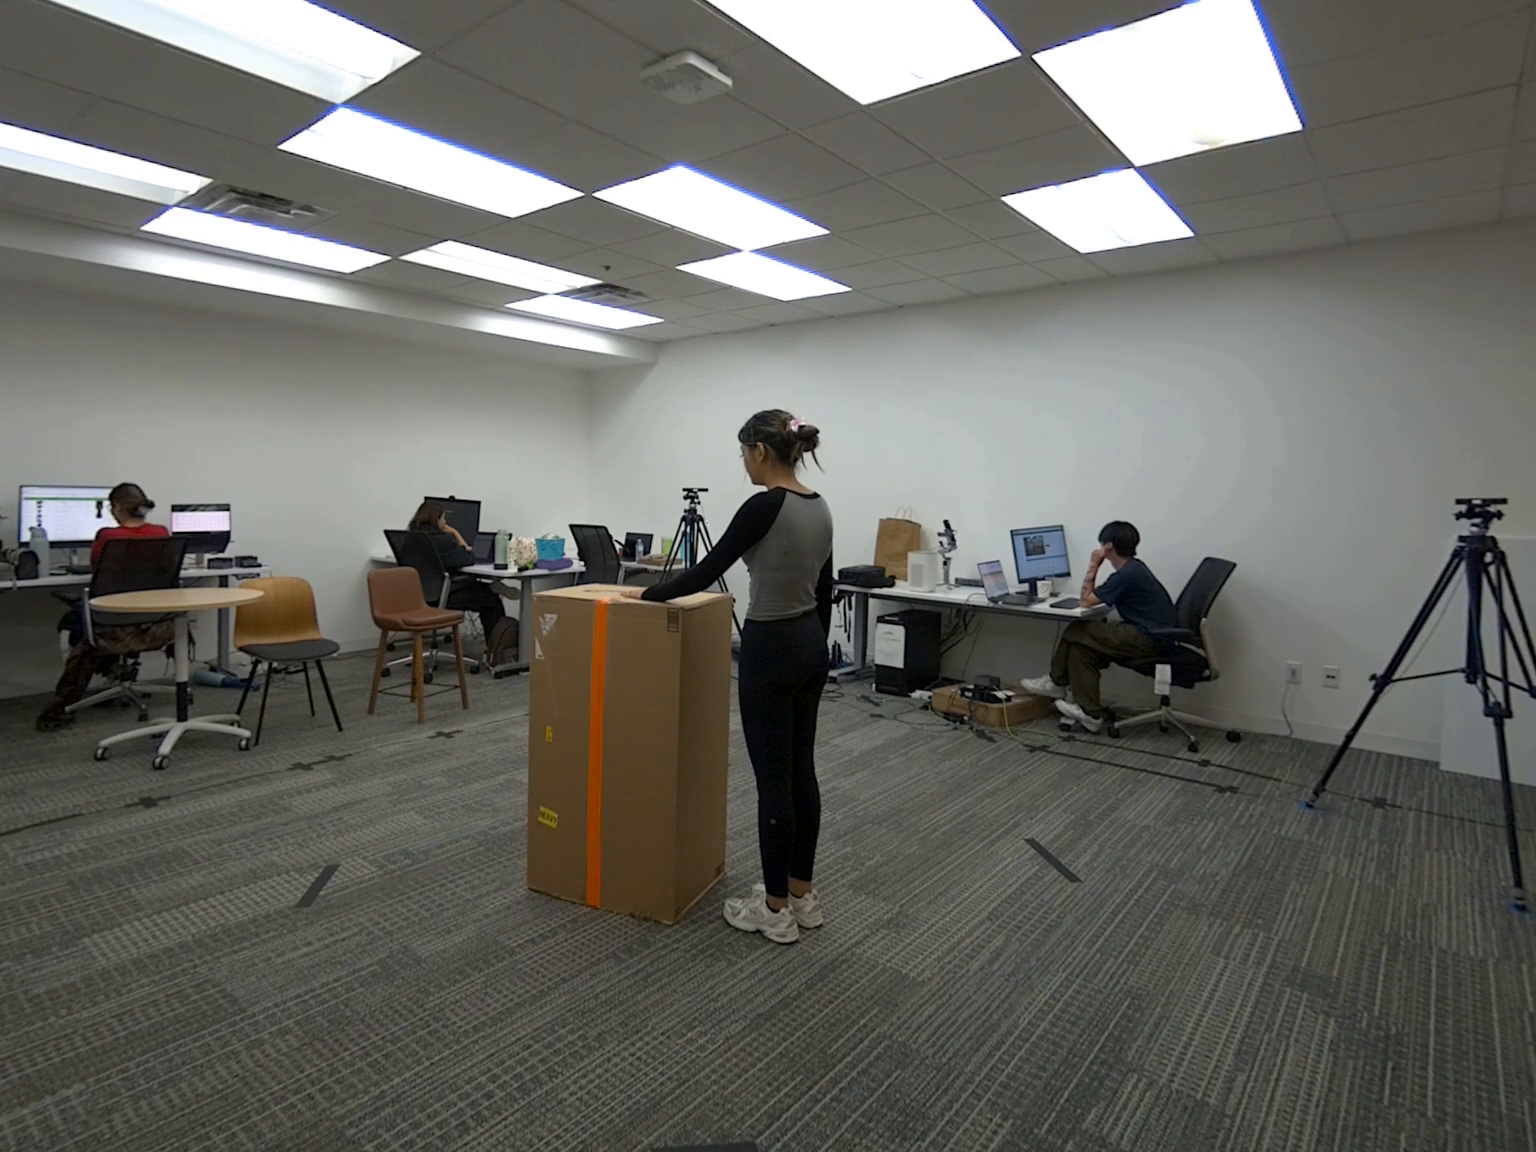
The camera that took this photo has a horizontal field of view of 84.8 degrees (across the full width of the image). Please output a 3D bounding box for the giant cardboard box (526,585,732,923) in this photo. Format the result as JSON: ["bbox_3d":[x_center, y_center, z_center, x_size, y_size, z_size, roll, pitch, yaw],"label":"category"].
[{"bbox_3d":[-0.494,0.572,2.979,0.598,1.025,0.437,3,2,22],"label":"giant cardboard box"}]
